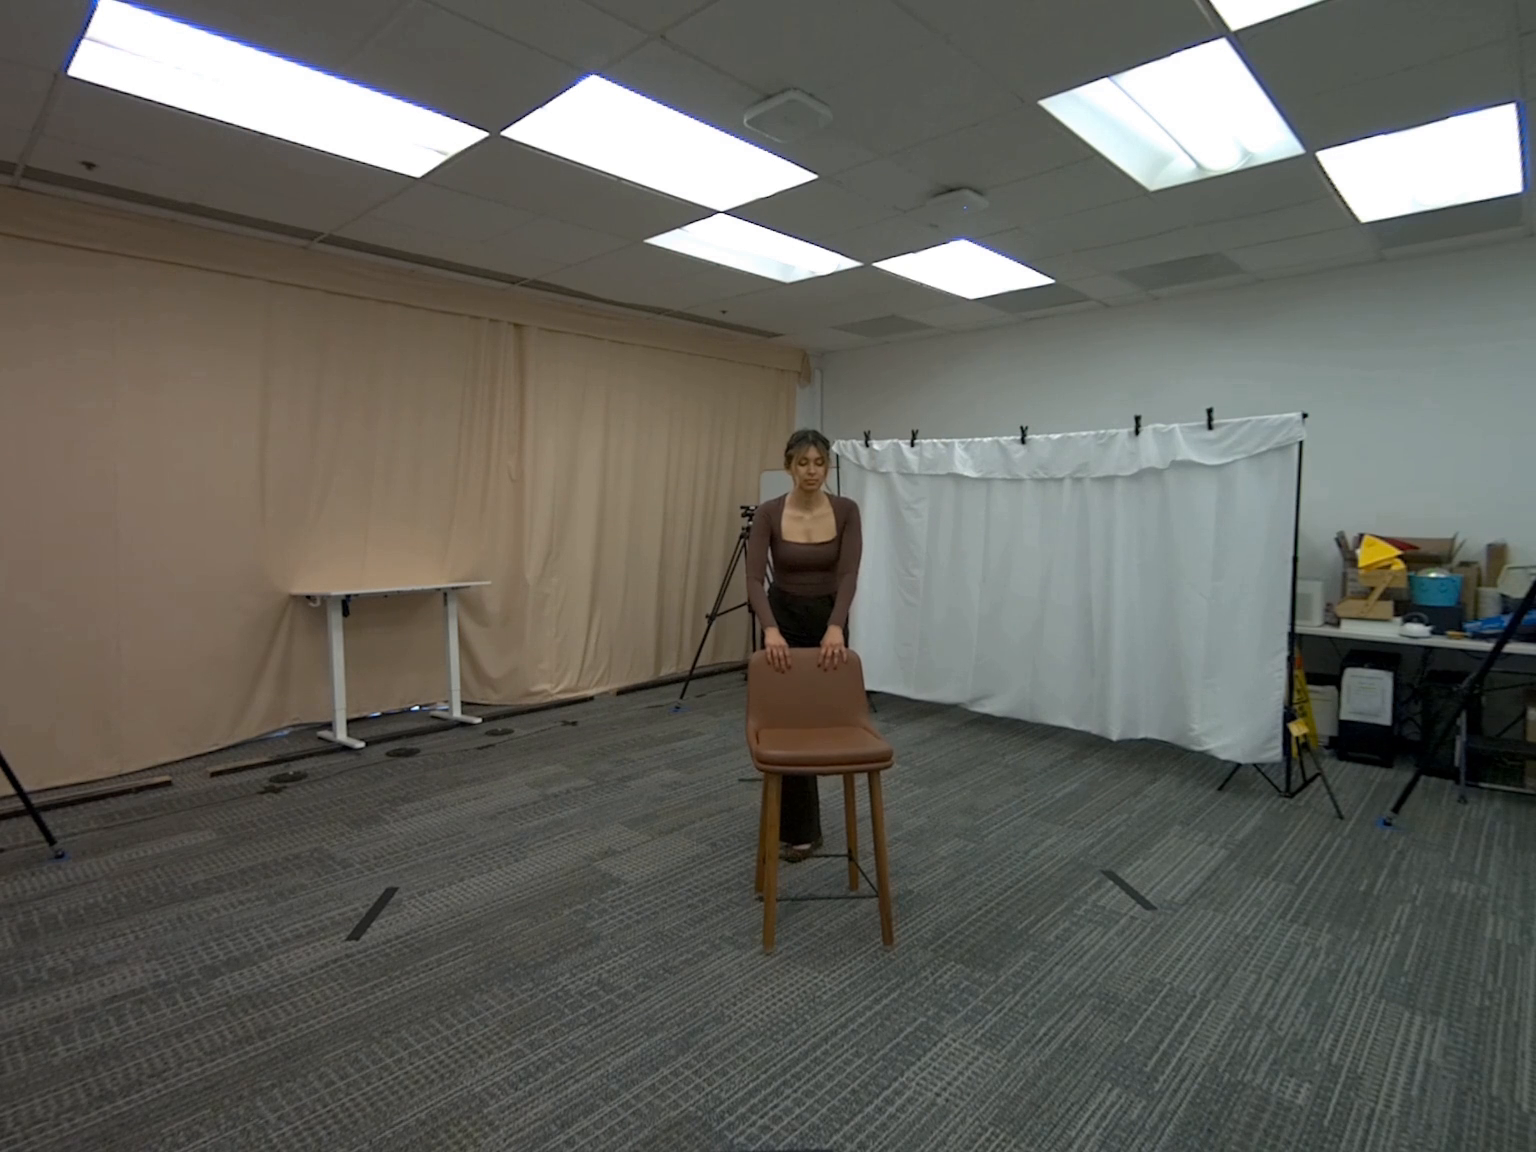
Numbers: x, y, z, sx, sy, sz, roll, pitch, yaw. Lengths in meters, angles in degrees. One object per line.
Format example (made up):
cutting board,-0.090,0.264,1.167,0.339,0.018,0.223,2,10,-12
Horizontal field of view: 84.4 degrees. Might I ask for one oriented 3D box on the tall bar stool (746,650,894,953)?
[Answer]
tall bar stool,0.166,0.711,2.842,0.454,0.890,0.469,0,-1,-5
